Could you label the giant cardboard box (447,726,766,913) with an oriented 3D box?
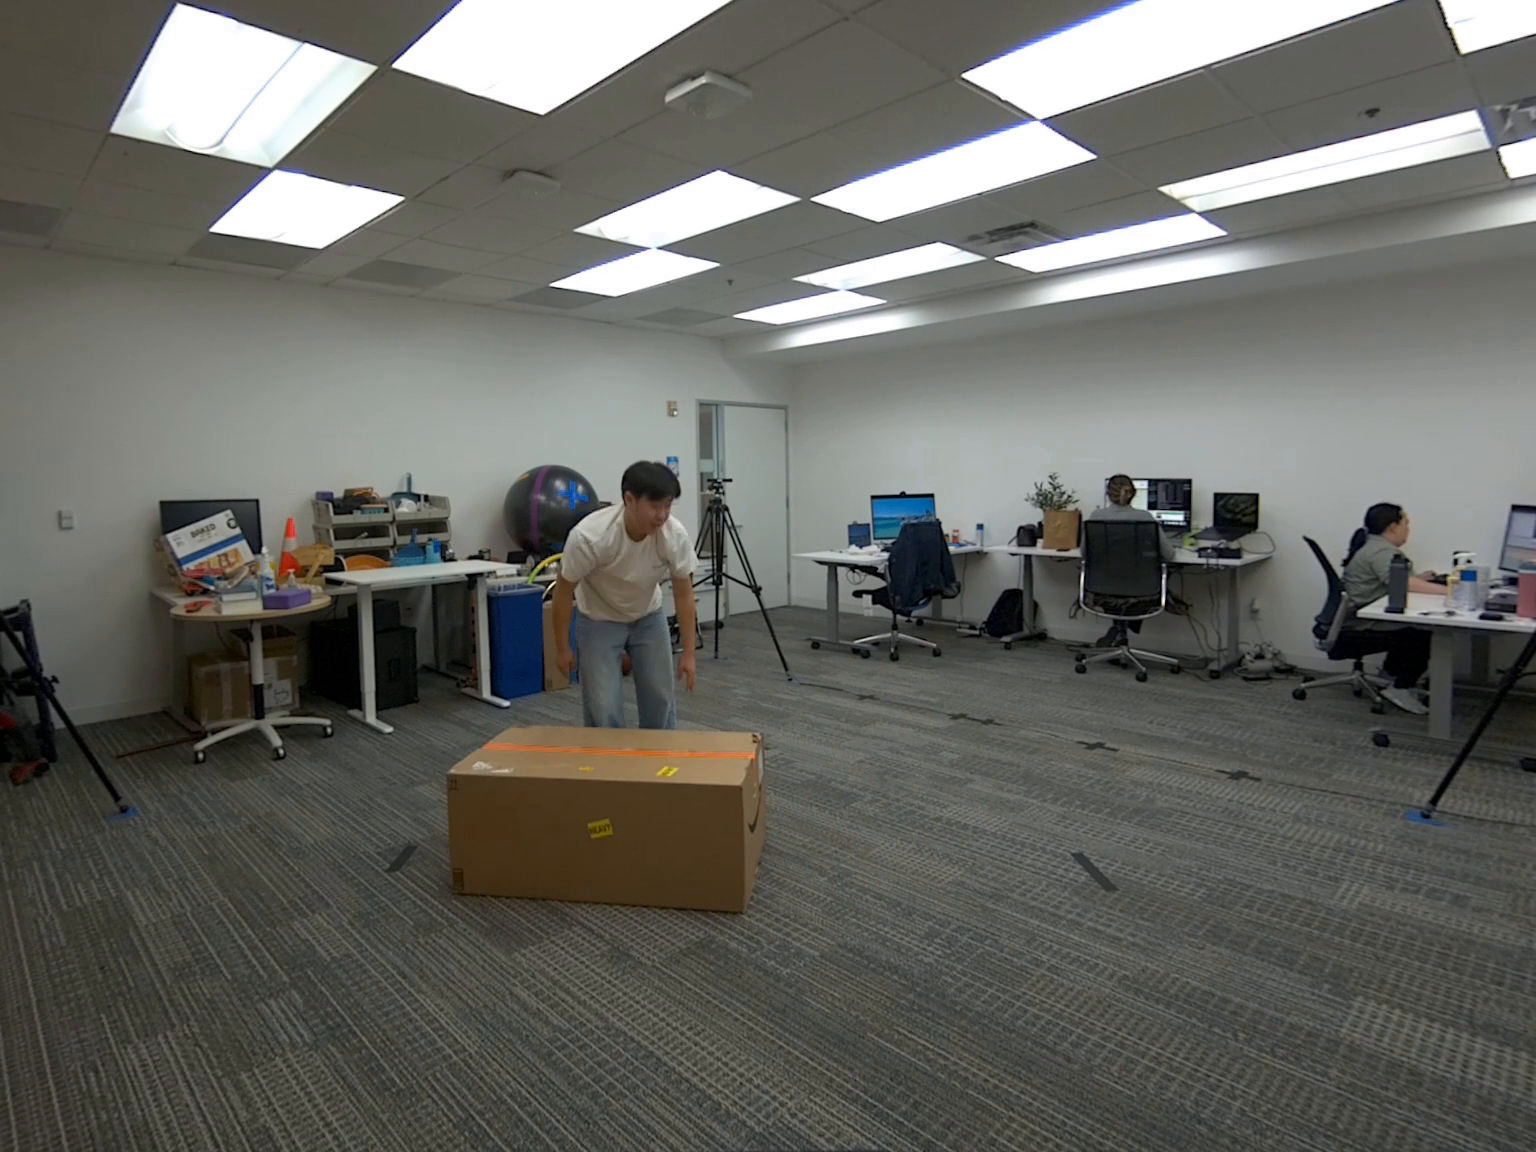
[{"bbox_3d":[-0.553,0.837,3.101,1.036,0.424,0.575,0,6,9],"label":"giant cardboard box"}]
